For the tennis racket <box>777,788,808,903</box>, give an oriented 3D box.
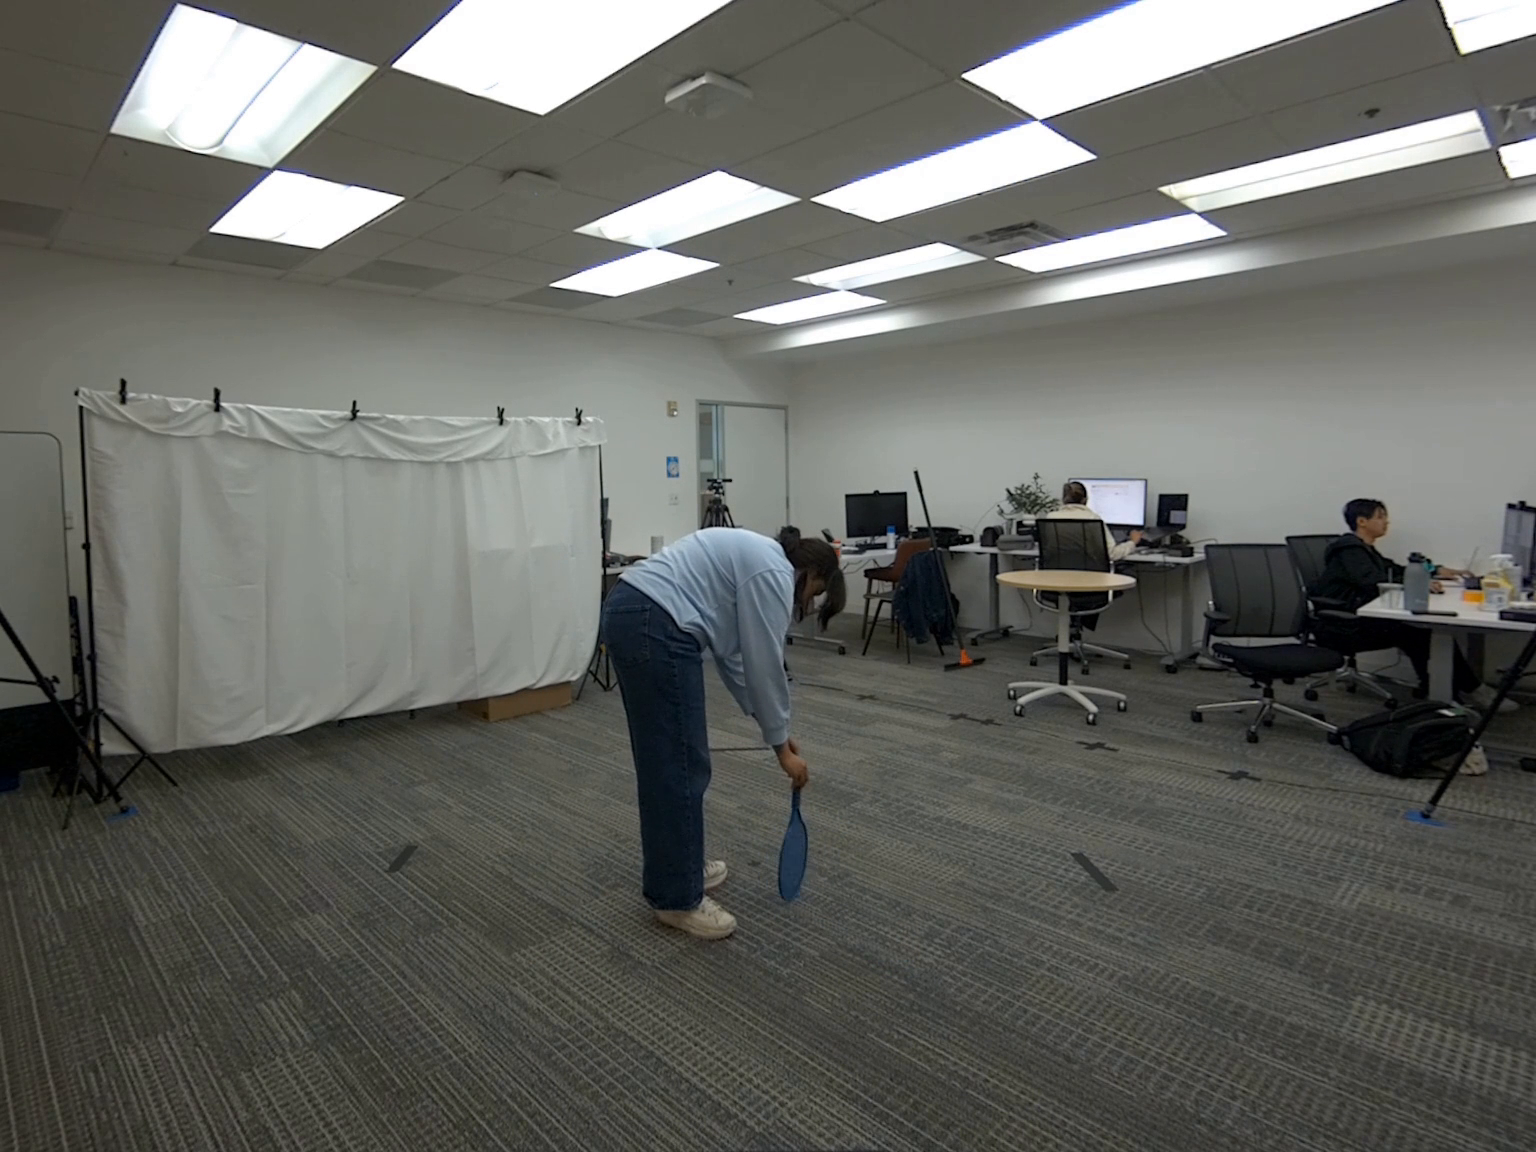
[{"bbox_3d":[0.083,0.854,2.829,0.032,0.432,0.208,2,2,28],"label":"tennis racket"}]
